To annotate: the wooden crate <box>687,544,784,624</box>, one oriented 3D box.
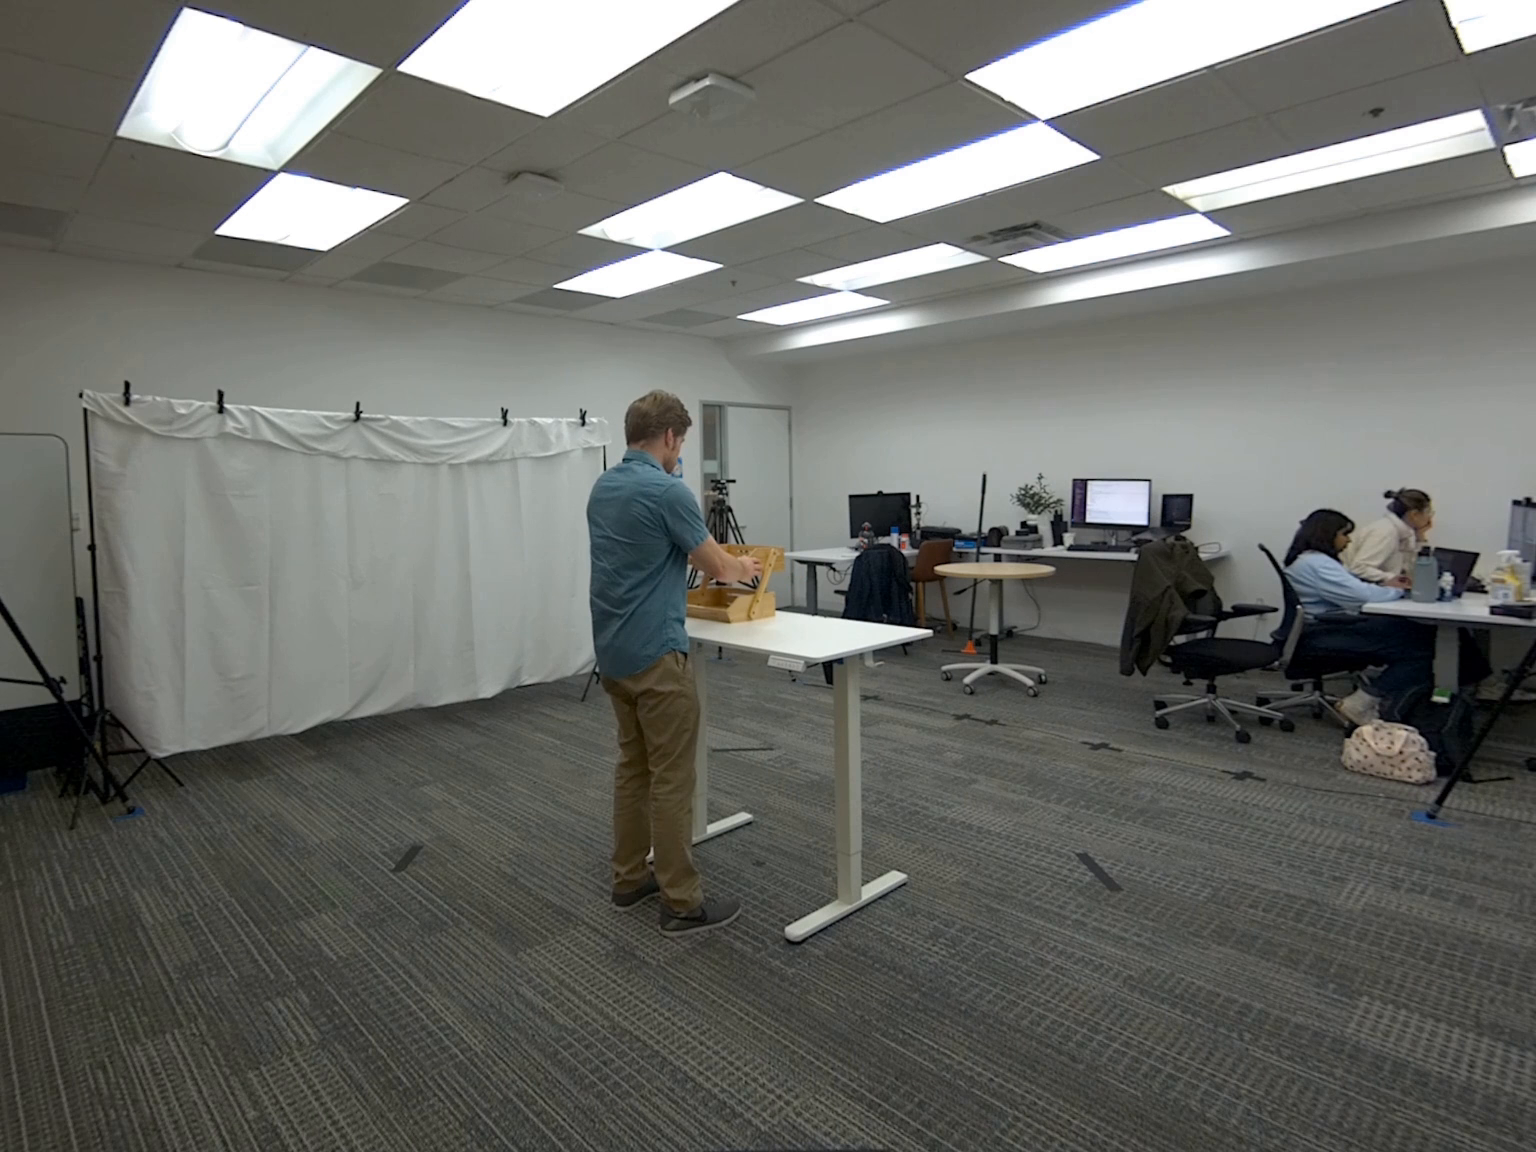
[{"bbox_3d":[-0.146,0.019,3.257,0.294,0.272,0.334,-4,6,-45],"label":"wooden crate"}]
